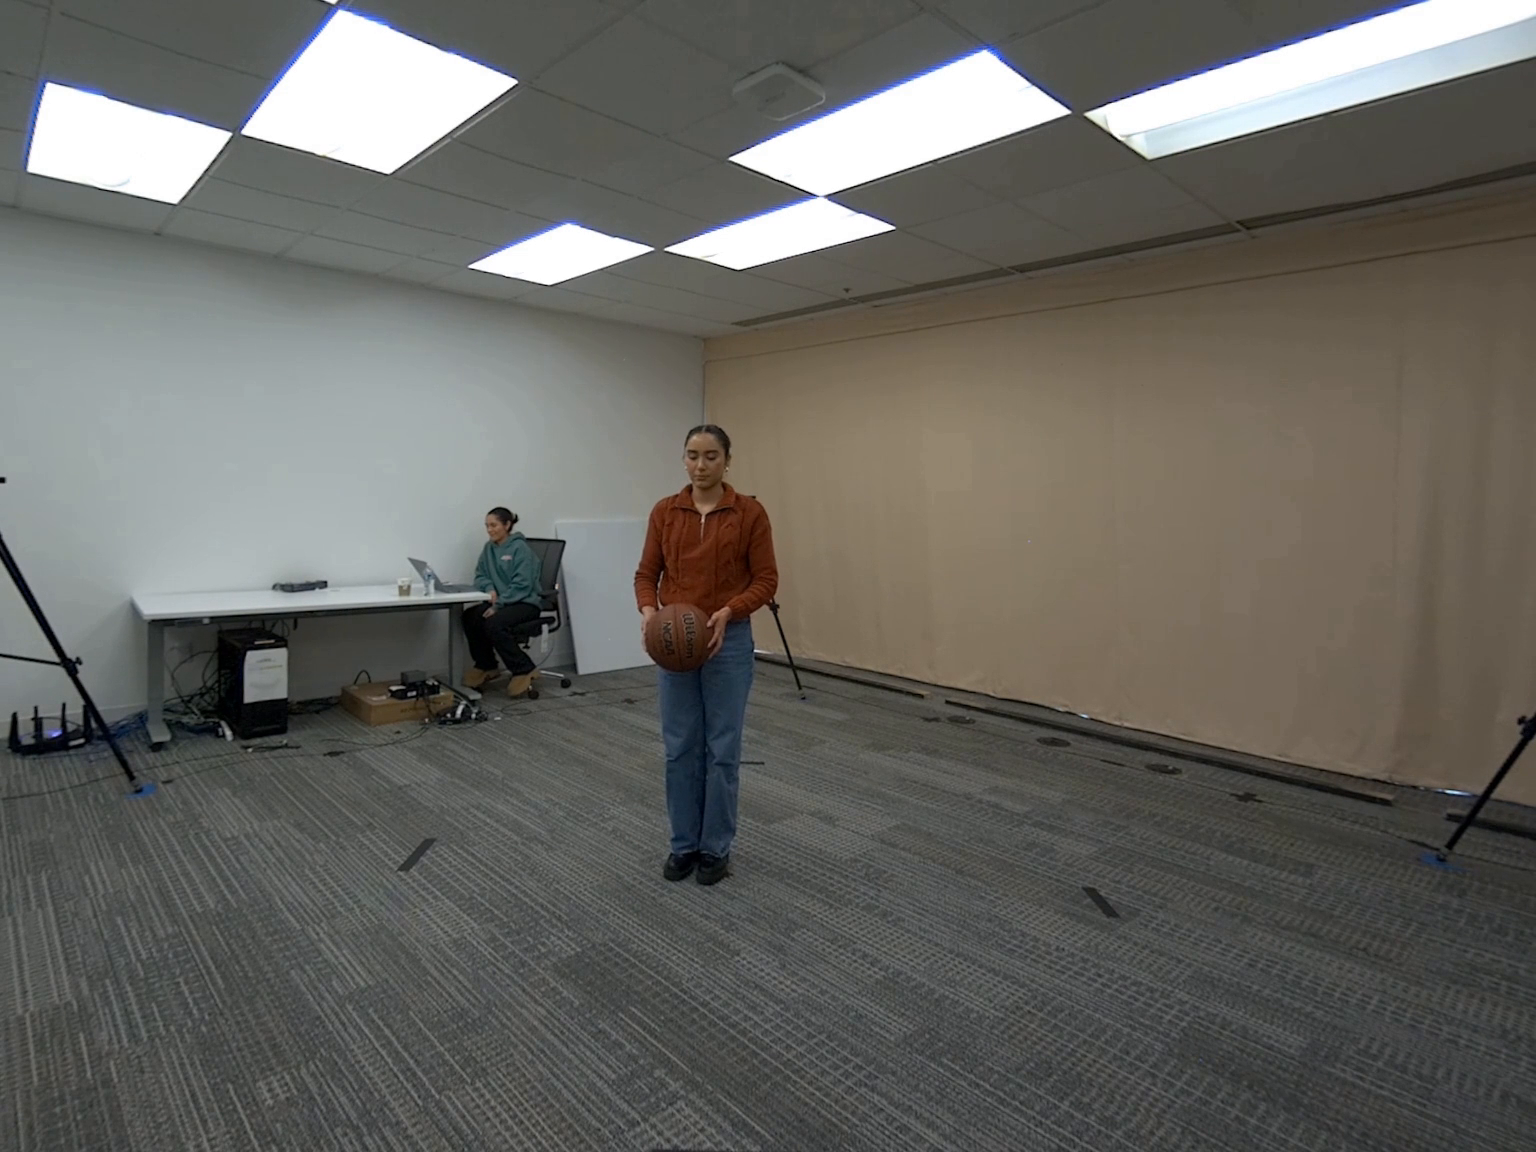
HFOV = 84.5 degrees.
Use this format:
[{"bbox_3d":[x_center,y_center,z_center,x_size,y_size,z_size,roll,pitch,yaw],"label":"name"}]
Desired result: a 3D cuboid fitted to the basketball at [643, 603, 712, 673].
[{"bbox_3d":[-0.307,0.208,2.857,0.236,0.235,0.237,1,4,-1],"label":"basketball"}]
